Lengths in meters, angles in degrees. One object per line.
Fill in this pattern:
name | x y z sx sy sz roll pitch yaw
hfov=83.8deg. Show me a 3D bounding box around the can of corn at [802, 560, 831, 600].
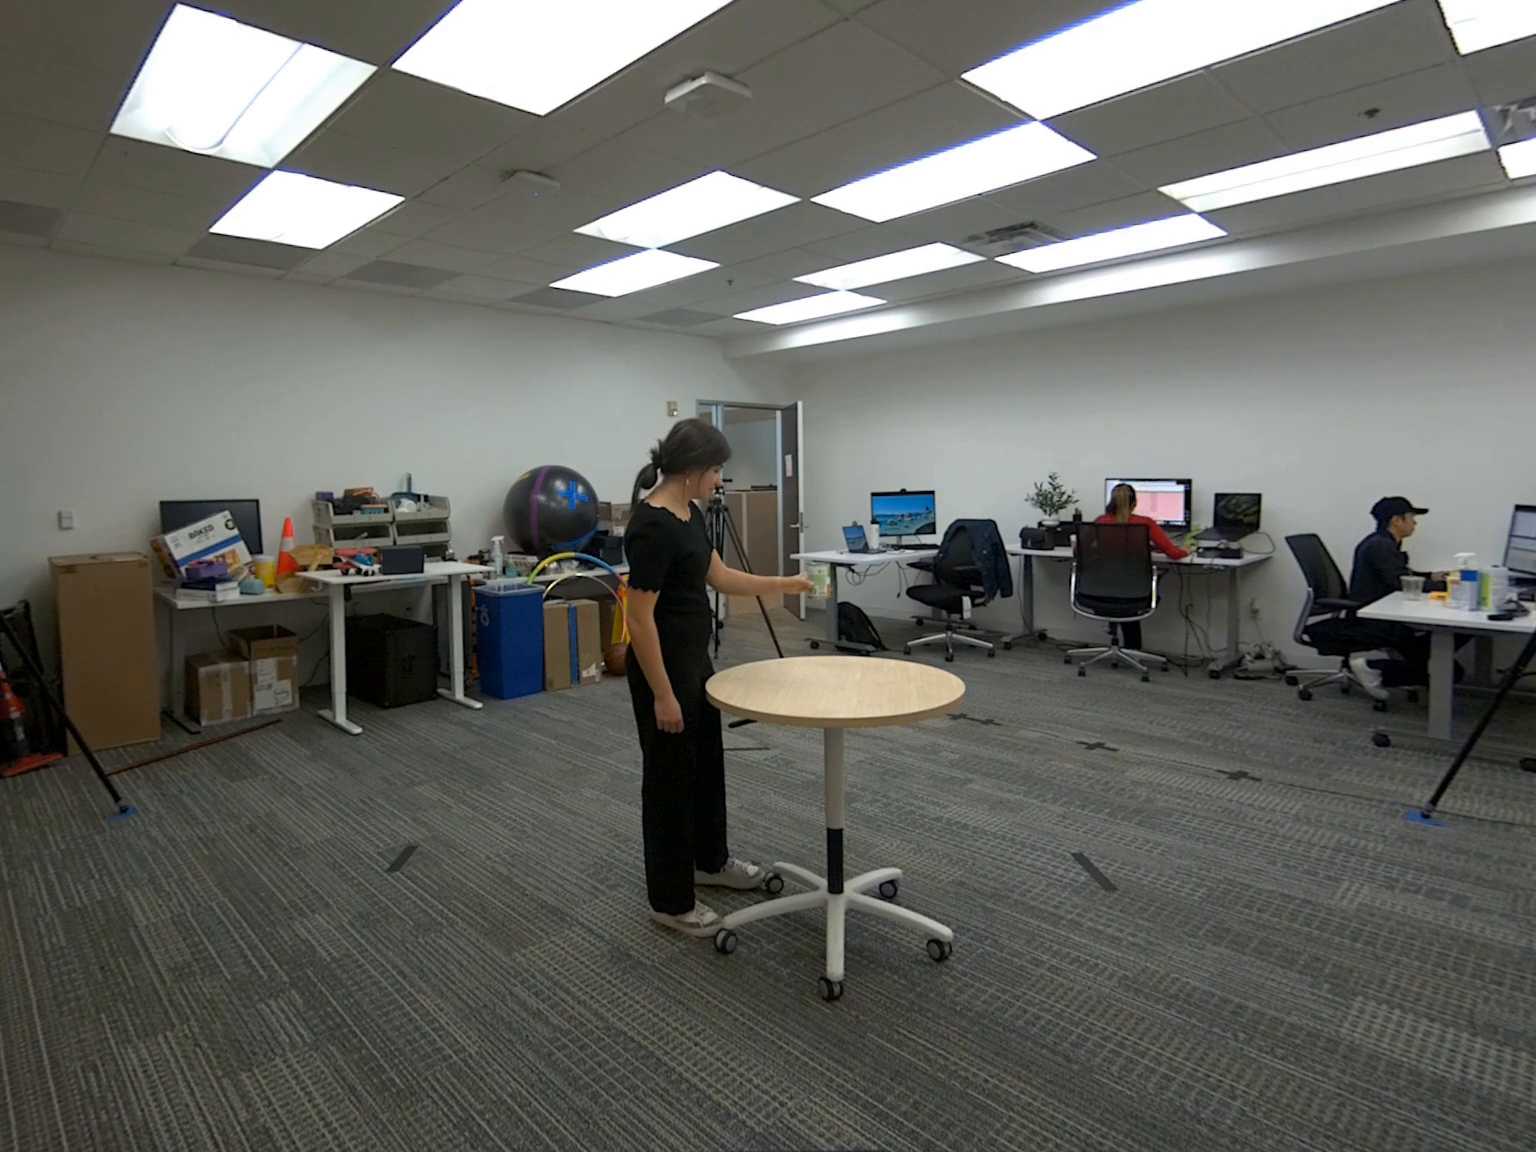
can of corn | 0.163 0.018 2.741 0.074 0.111 0.074 -2 1 -2
